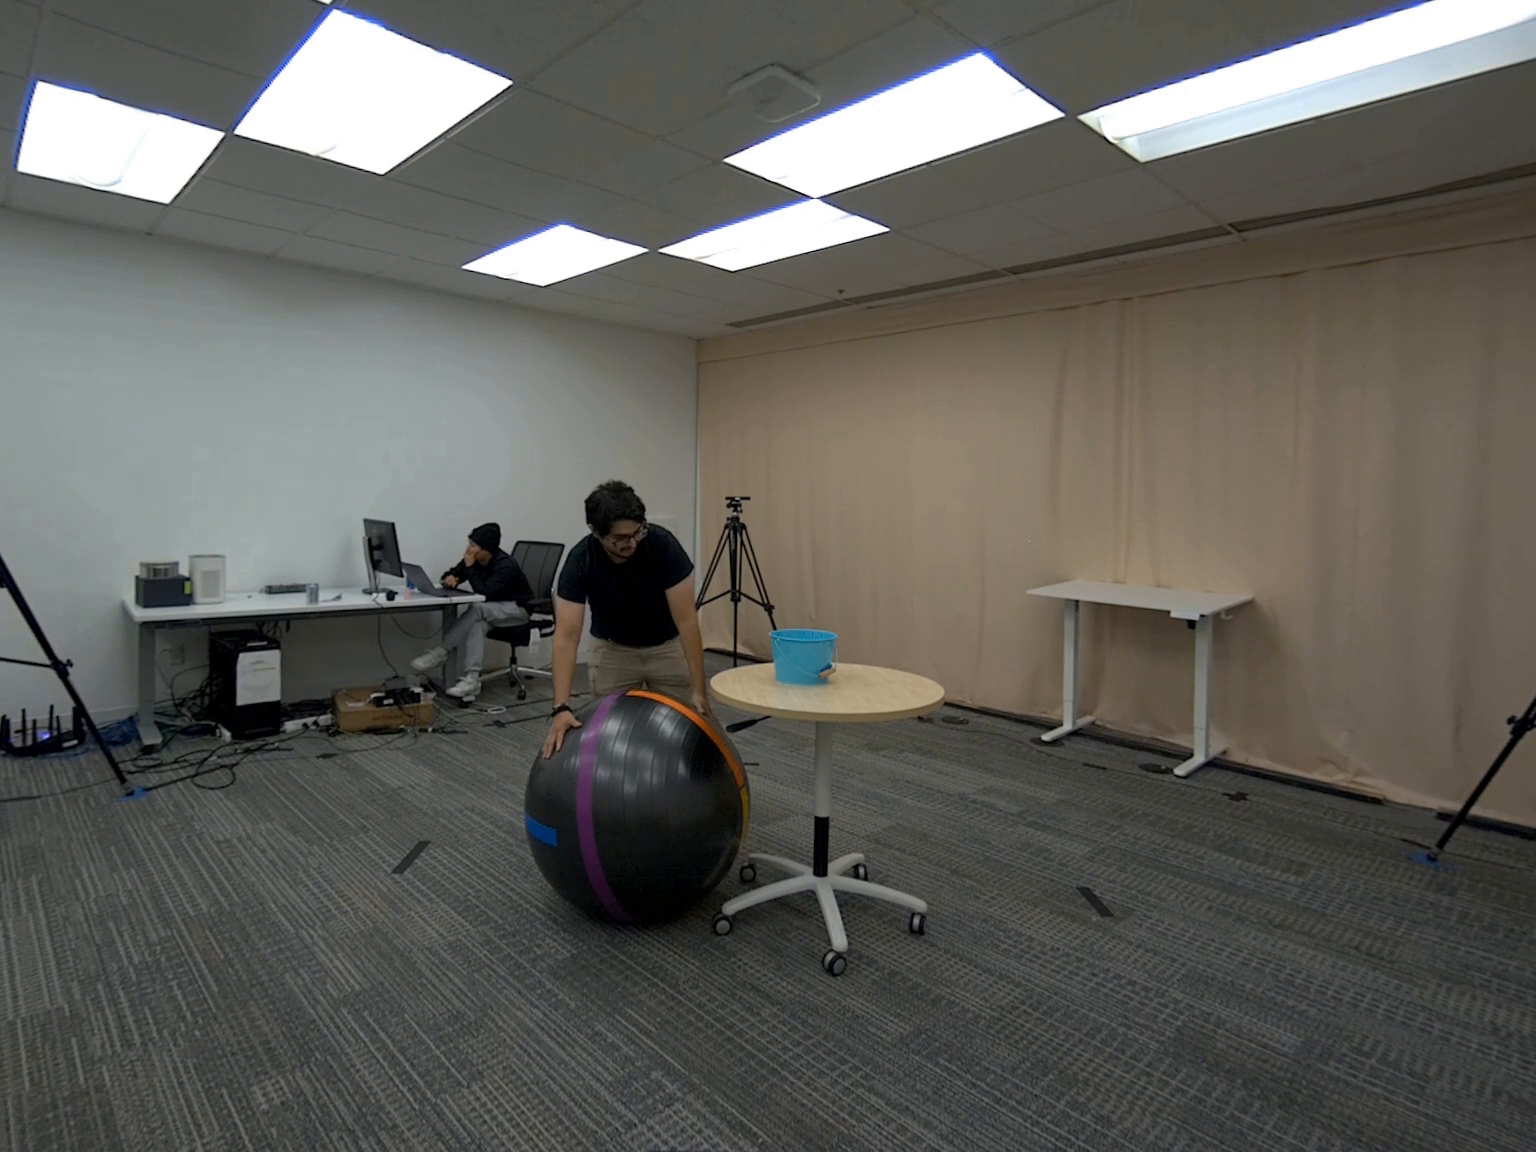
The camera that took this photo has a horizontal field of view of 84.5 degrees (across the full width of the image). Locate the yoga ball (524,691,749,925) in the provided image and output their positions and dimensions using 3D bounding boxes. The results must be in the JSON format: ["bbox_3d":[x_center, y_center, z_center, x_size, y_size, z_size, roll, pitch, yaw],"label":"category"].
[{"bbox_3d":[-0.454,0.785,2.860,0.757,0.756,0.761,1,4,-1],"label":"yoga ball"}]
